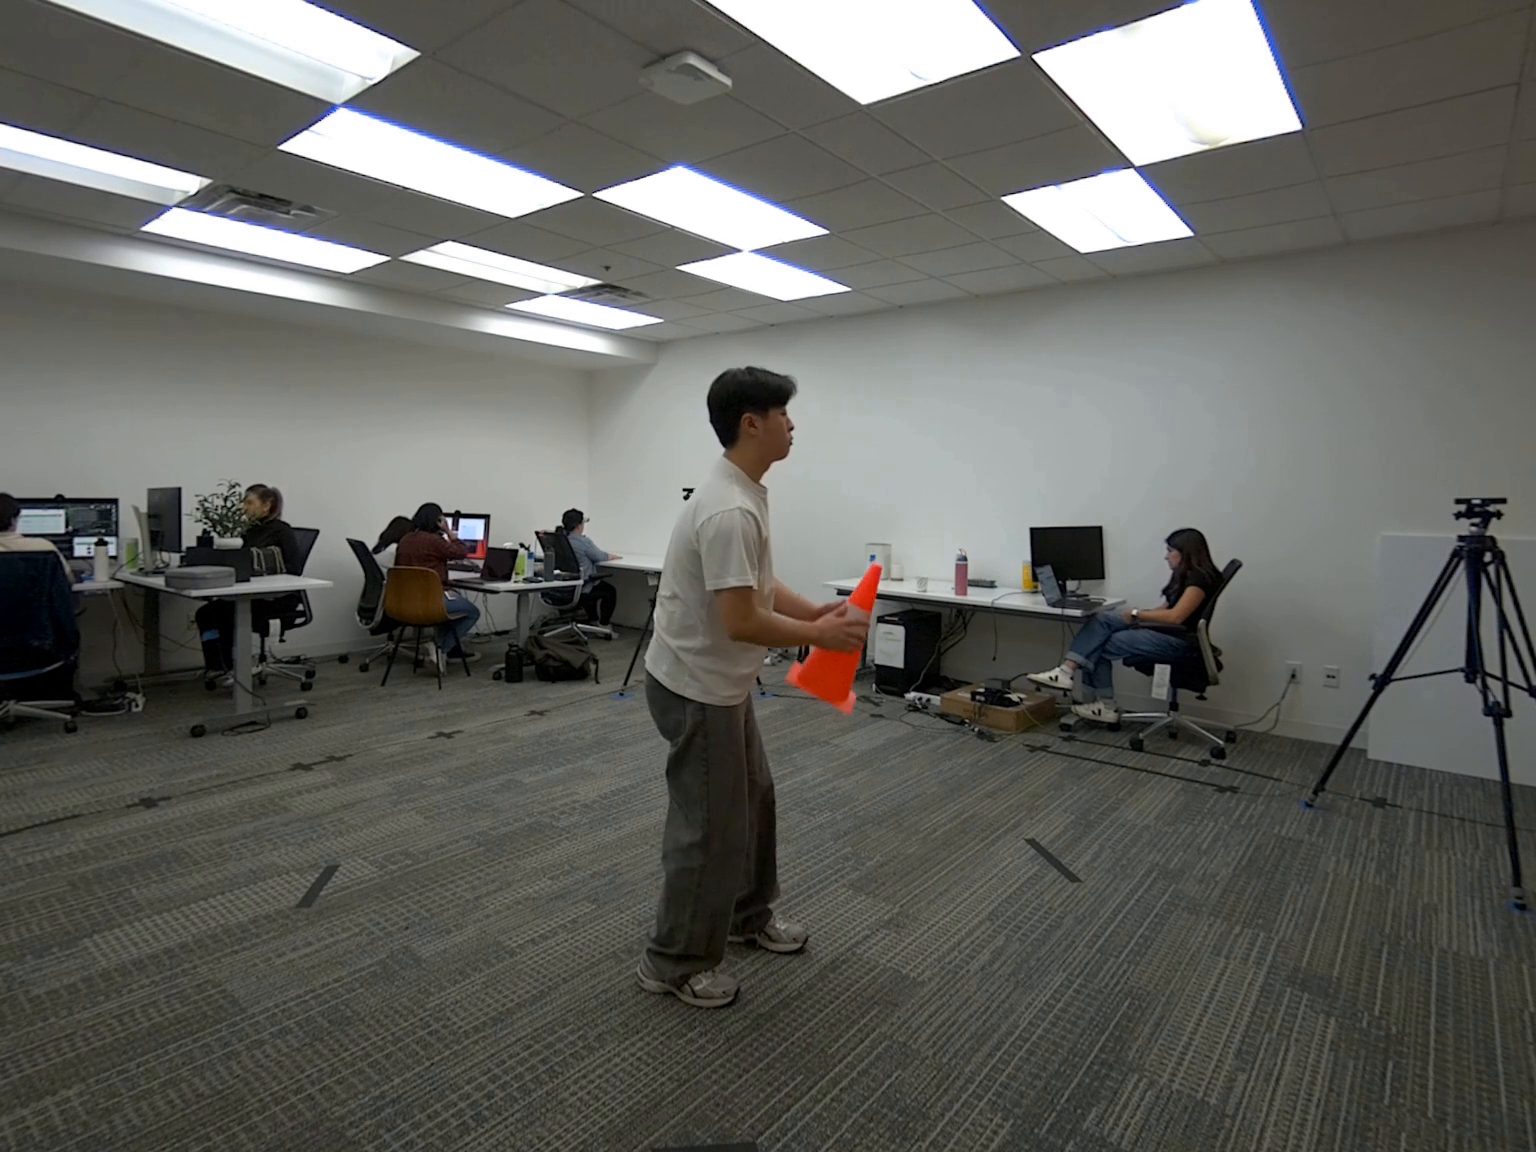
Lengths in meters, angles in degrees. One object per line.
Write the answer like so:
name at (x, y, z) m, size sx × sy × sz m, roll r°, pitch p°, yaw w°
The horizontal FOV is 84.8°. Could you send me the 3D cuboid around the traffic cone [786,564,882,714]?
traffic cone at (0.223, 0.114, 2.321) m, size 0.205 × 0.382 × 0.204 m, roll 23°, pitch 9°, yaw 0°
